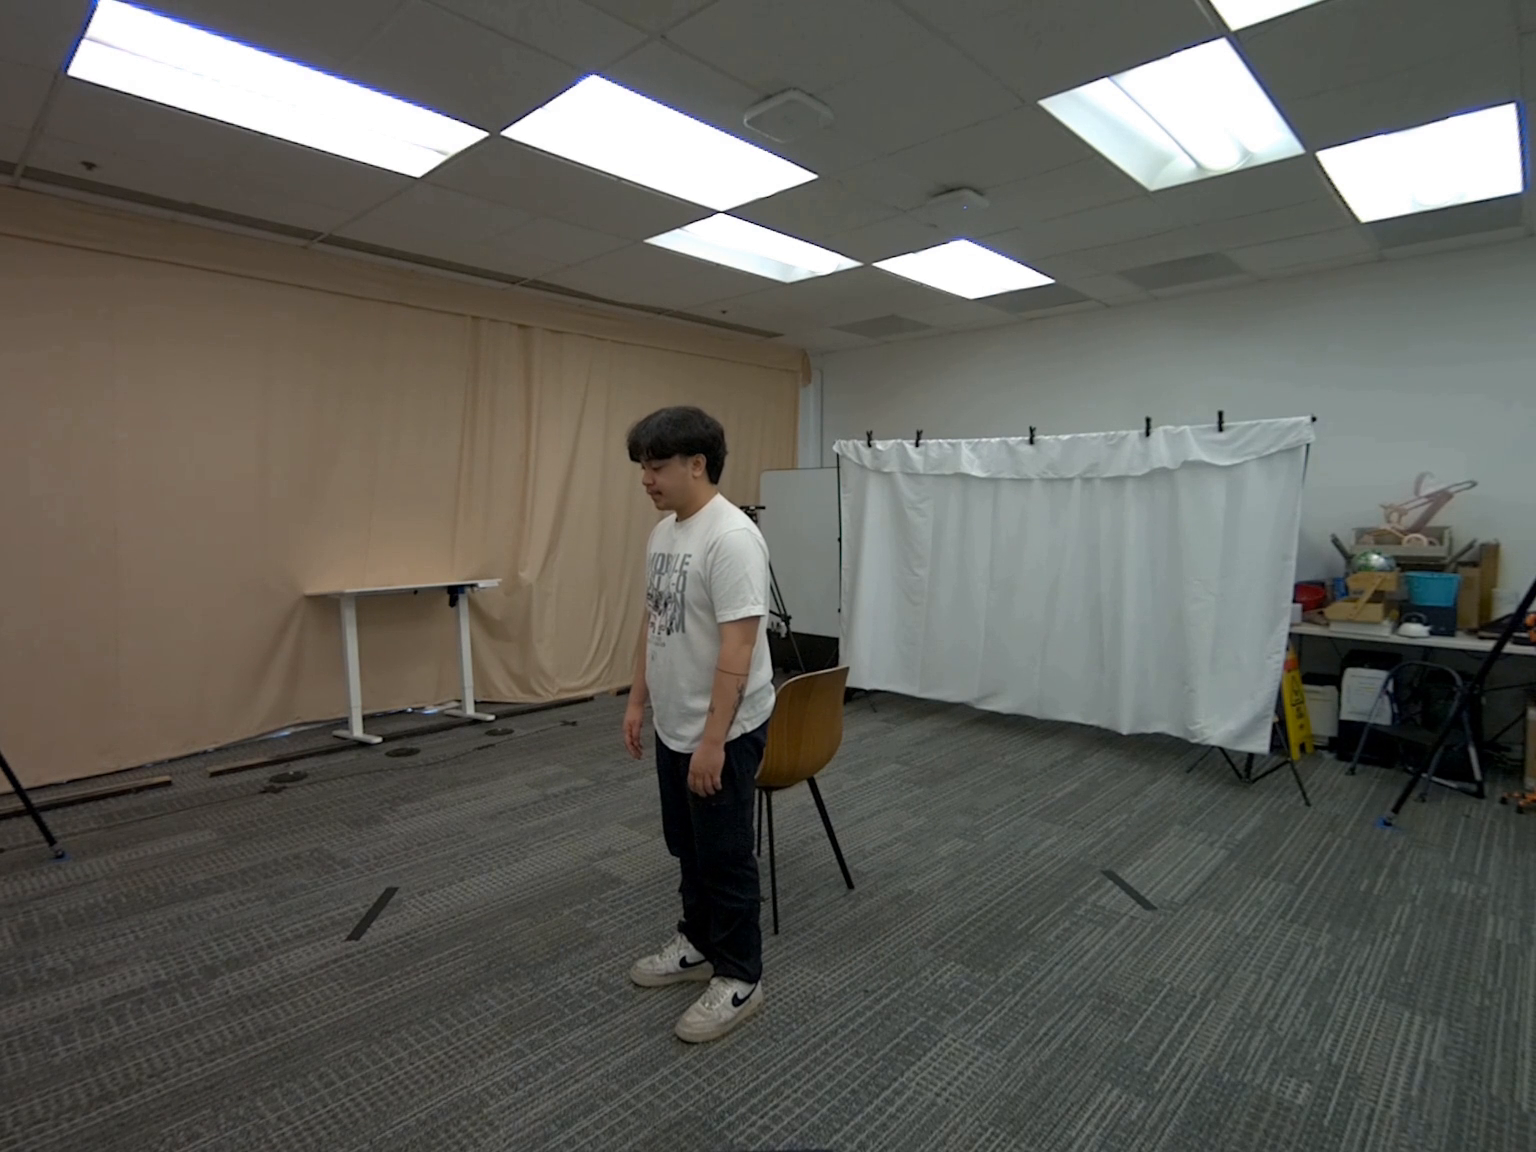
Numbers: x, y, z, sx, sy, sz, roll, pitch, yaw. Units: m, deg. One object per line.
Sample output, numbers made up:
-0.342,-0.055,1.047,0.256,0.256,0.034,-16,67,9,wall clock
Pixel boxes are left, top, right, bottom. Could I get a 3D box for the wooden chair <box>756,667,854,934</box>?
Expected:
-0.009,0.714,3.027,0.541,0.874,0.463,9,9,41,wooden chair
